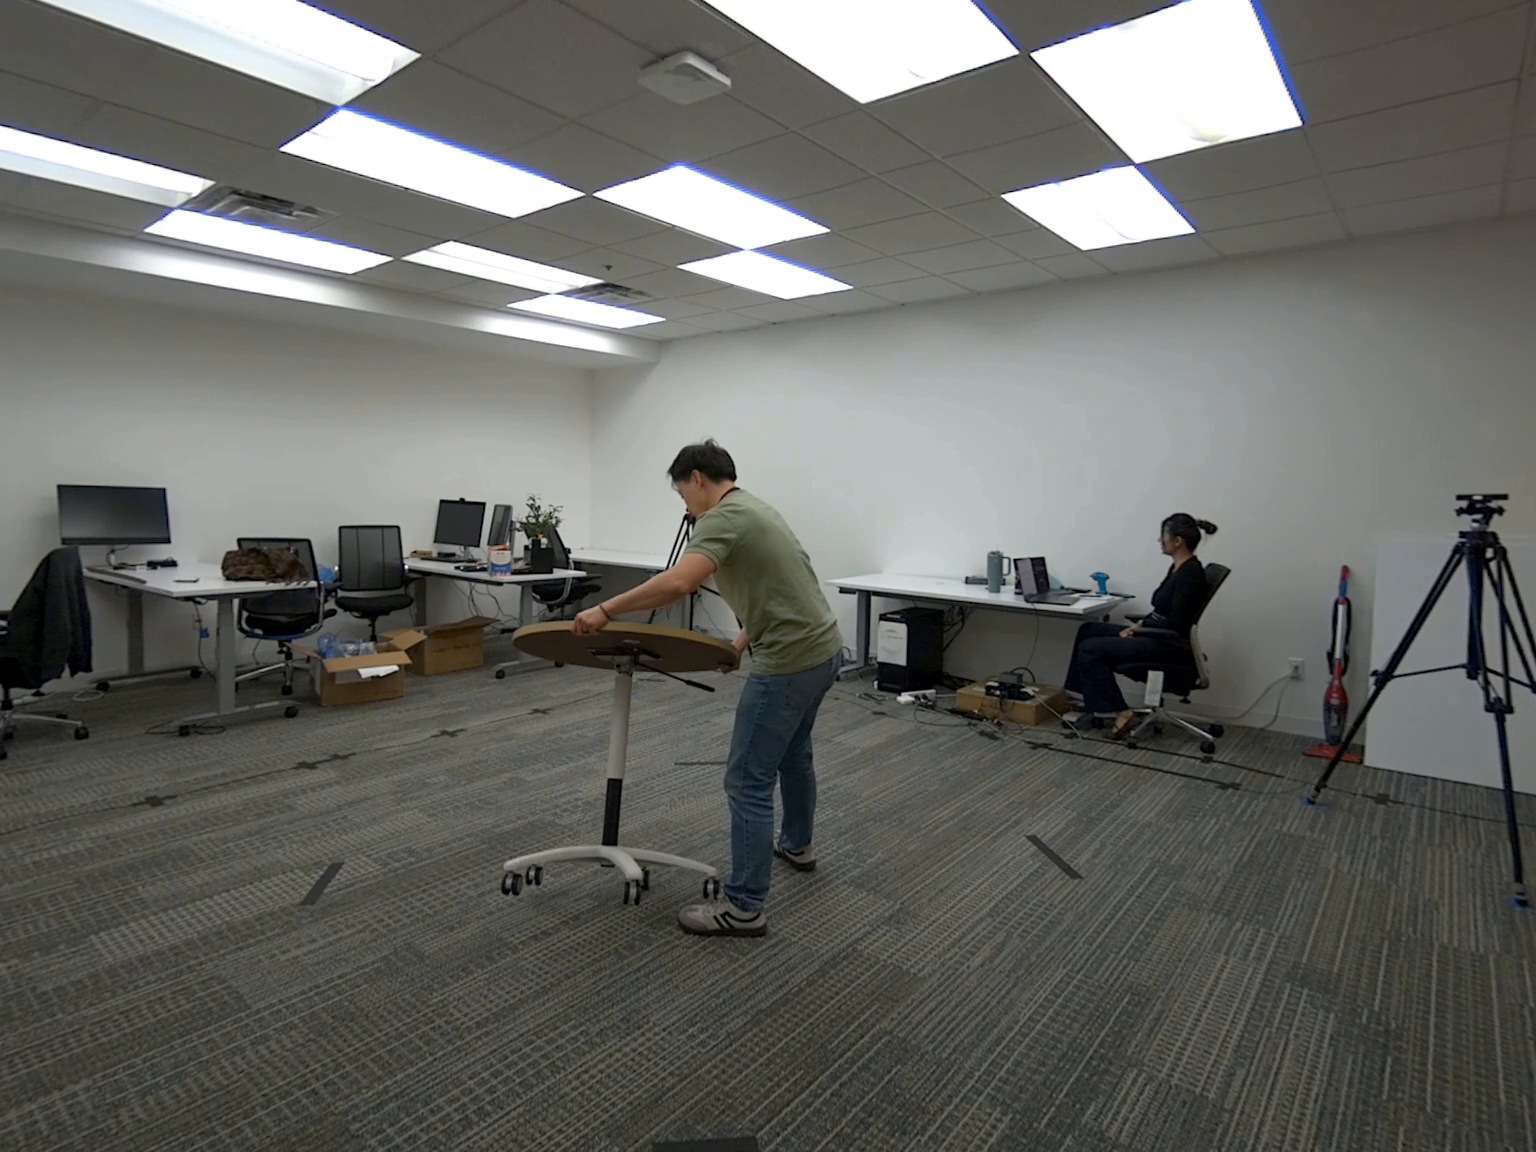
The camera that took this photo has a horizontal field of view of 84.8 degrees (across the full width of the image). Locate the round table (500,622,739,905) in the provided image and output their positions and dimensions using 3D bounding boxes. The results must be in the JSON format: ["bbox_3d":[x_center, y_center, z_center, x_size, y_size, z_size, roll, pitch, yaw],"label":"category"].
[{"bbox_3d":[-0.511,0.617,2.782,0.764,0.806,0.752,2,-17,-1],"label":"round table"}]
